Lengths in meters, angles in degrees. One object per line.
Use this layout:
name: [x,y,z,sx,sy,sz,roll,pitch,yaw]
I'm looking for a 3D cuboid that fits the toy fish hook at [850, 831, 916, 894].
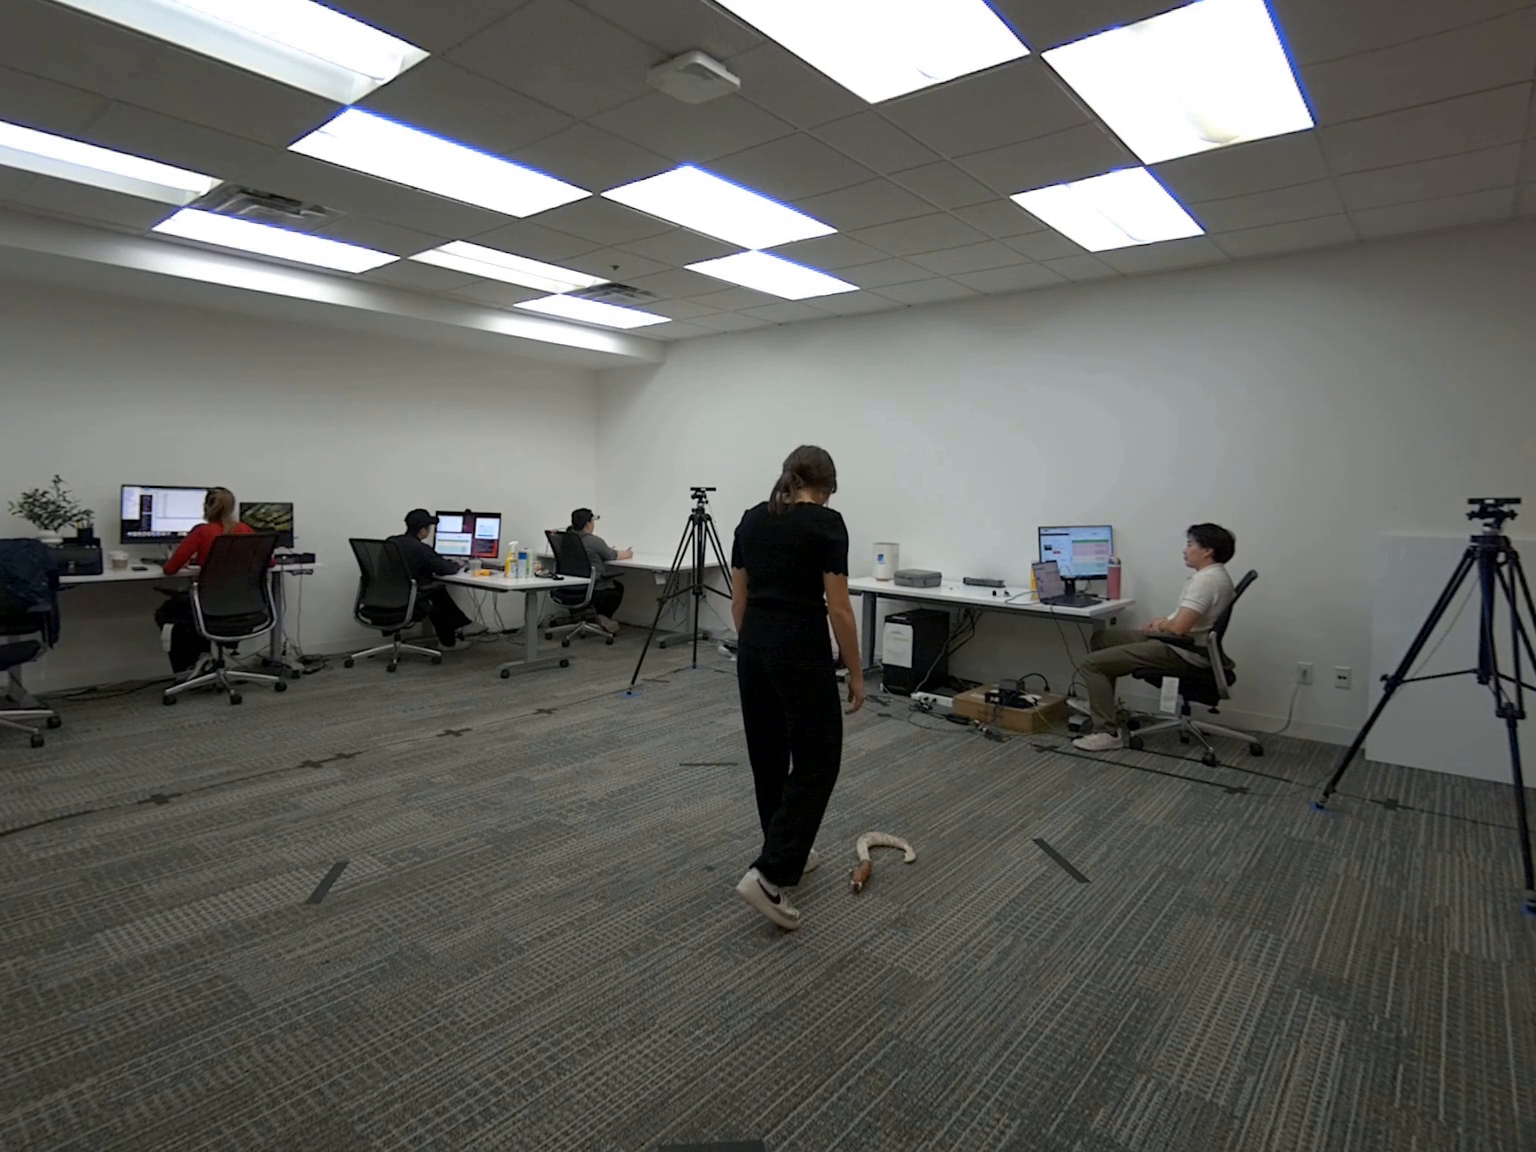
toy fish hook: [0.408,1.050,3.148,0.229,0.048,0.498,2,6,18]
